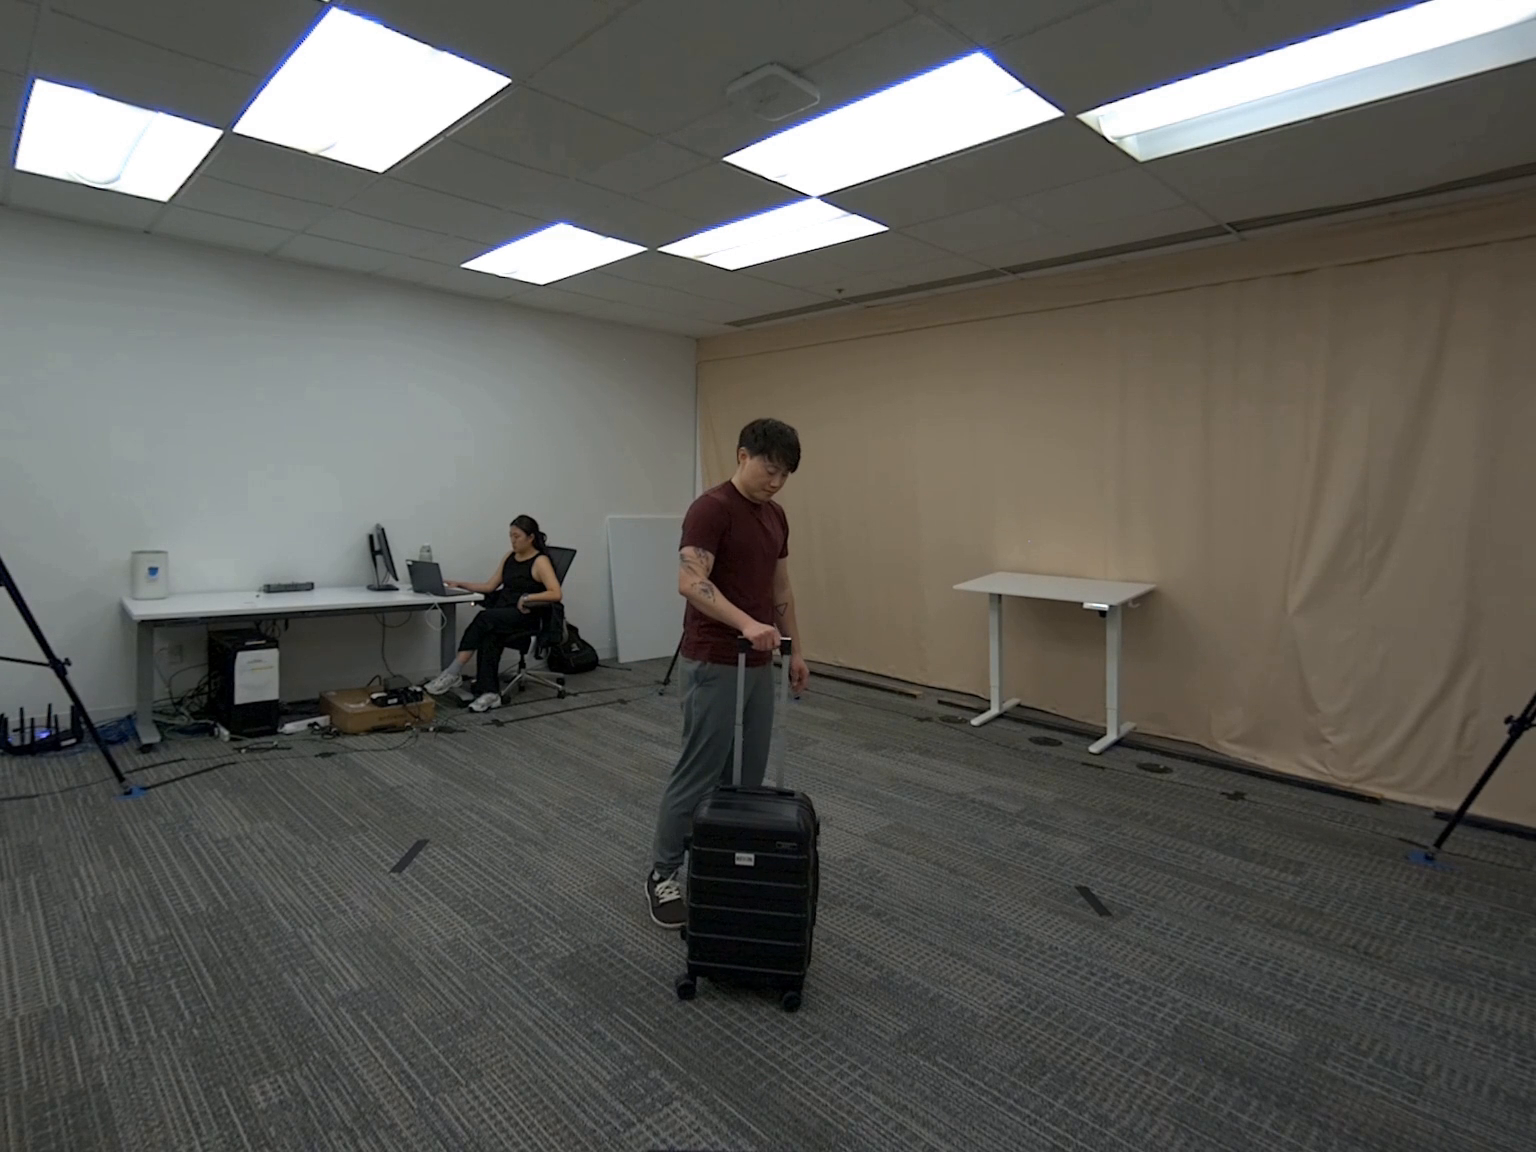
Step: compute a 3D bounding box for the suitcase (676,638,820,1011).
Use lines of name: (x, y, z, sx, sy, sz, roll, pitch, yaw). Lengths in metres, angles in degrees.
suitcase: (-0.044, 0.699, 2.395, 0.386, 0.975, 0.257, 3, 5, 5)
